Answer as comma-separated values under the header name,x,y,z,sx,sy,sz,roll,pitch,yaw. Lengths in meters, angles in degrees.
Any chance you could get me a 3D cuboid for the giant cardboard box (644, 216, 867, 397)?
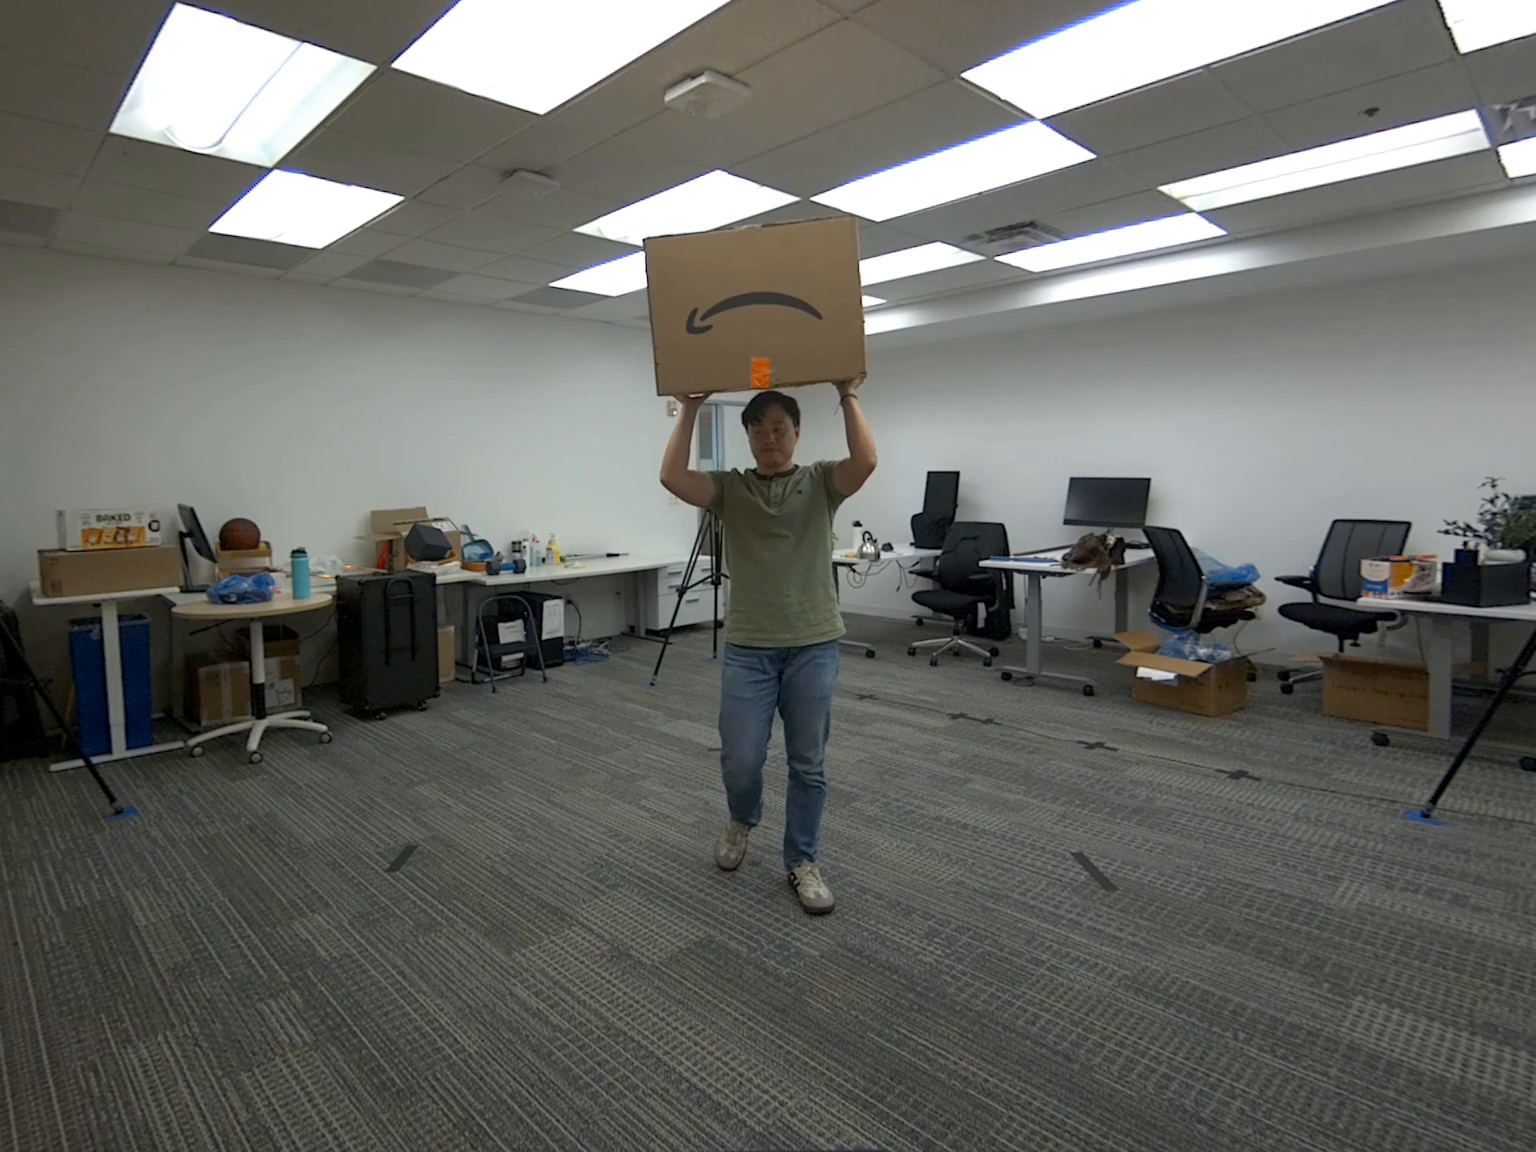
name,x,y,z,sx,sy,sz,roll,pitch,yaw
giant cardboard box,-0.013,-0.832,2.786,0.580,0.421,1.034,-4,13,4
